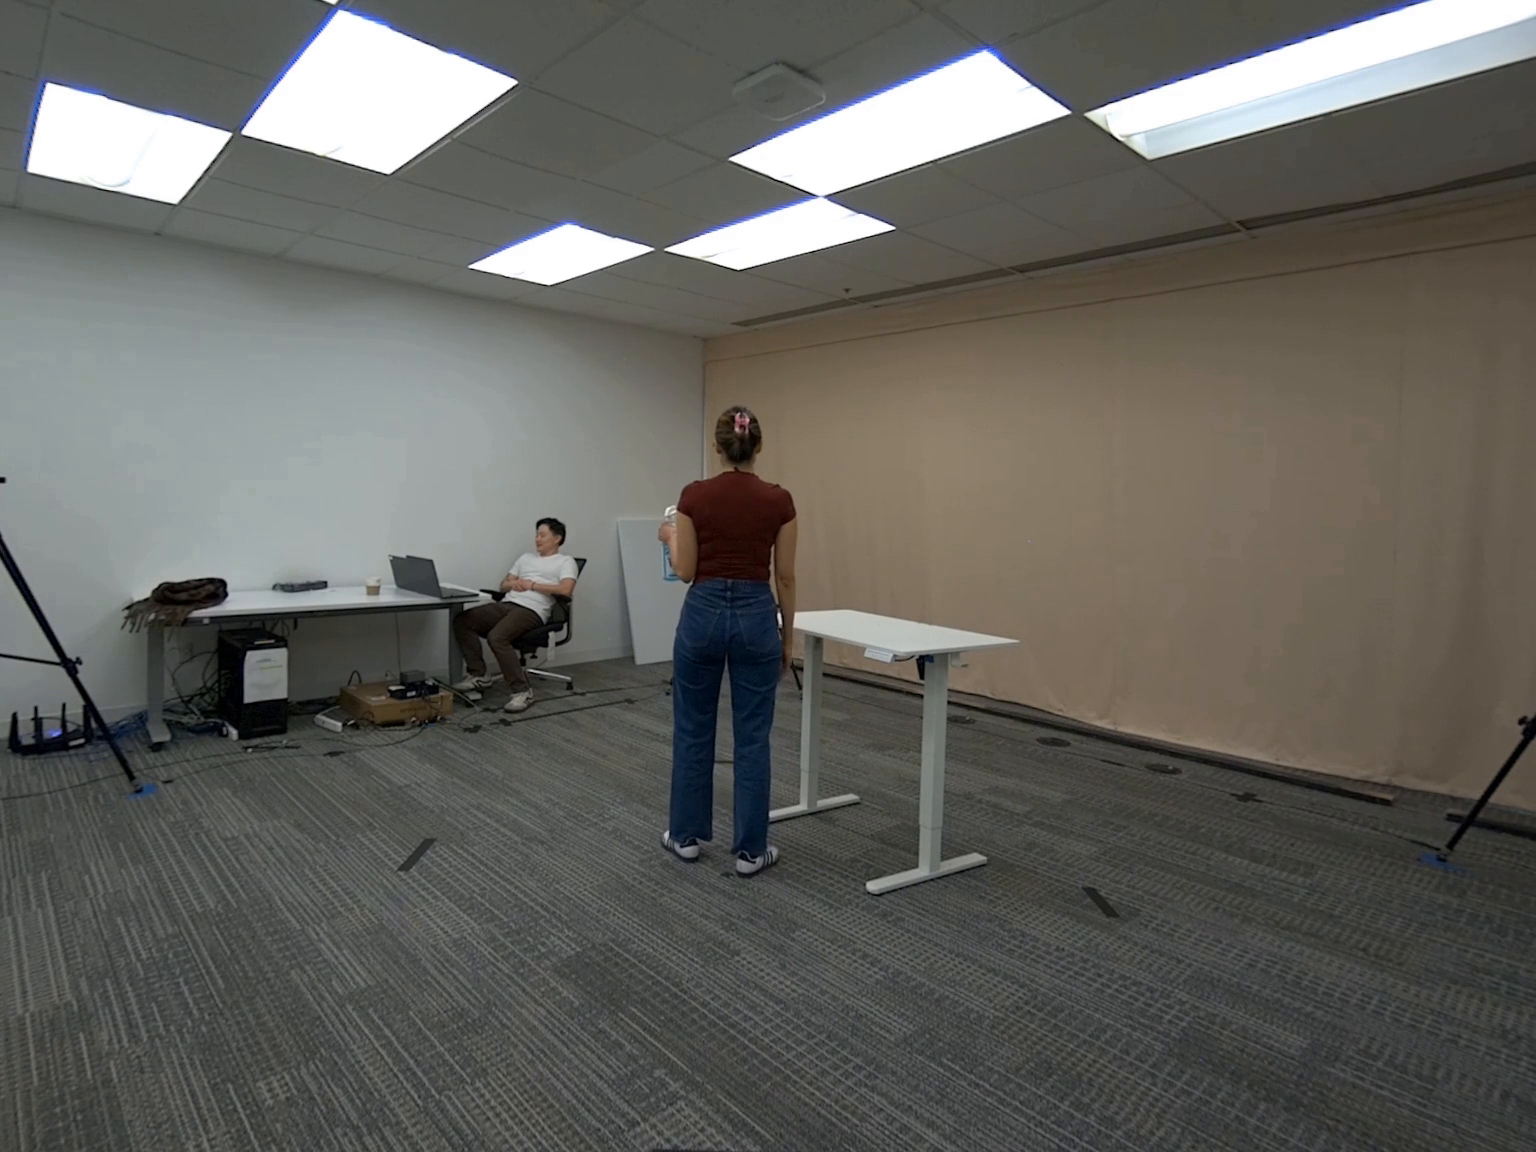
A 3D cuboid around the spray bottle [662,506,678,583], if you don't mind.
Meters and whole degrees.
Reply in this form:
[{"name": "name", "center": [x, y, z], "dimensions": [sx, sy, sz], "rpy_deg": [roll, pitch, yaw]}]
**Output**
[{"name": "spray bottle", "center": [-0.396, -0.128, 3.399], "dimensions": [0.088, 0.295, 0.089], "rpy_deg": [-11, 13, -43]}]
